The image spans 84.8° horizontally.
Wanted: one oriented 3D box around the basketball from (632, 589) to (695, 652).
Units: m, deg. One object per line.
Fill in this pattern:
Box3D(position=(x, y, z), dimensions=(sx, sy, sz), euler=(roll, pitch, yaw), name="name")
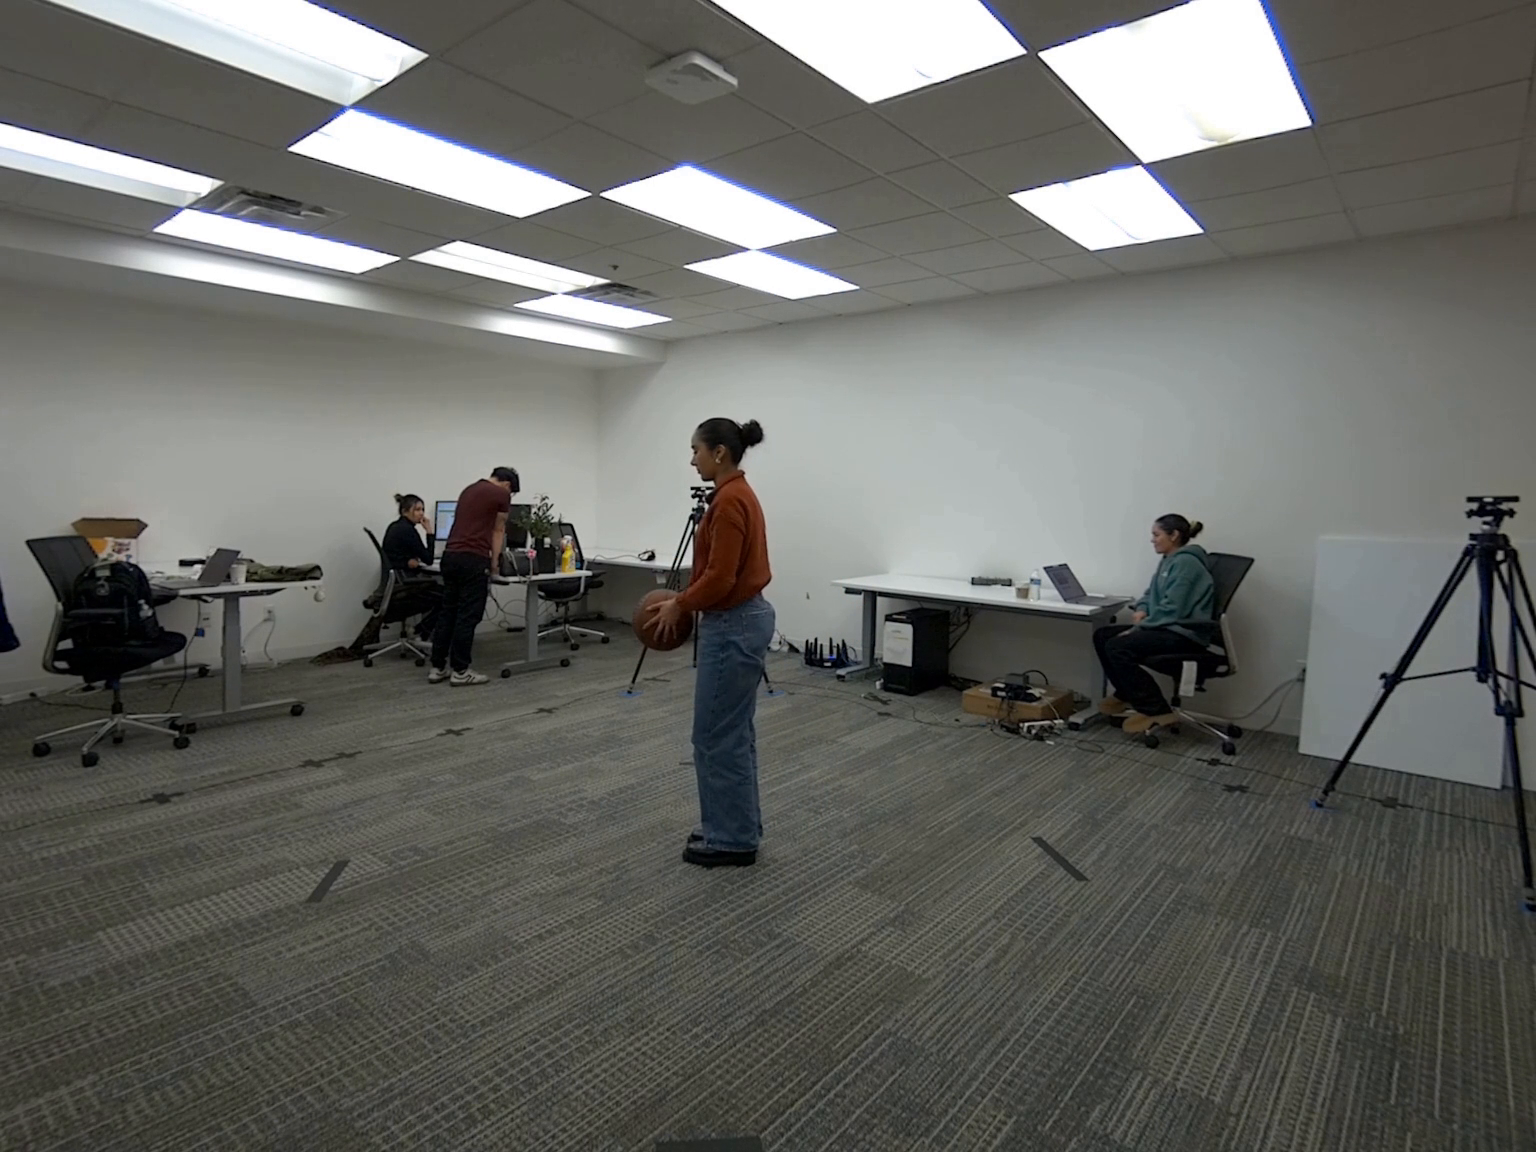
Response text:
Box3D(position=(-0.407, 0.167, 3.244), dimensions=(0.236, 0.235, 0.237), euler=(1, 4, -2), name="basketball")
